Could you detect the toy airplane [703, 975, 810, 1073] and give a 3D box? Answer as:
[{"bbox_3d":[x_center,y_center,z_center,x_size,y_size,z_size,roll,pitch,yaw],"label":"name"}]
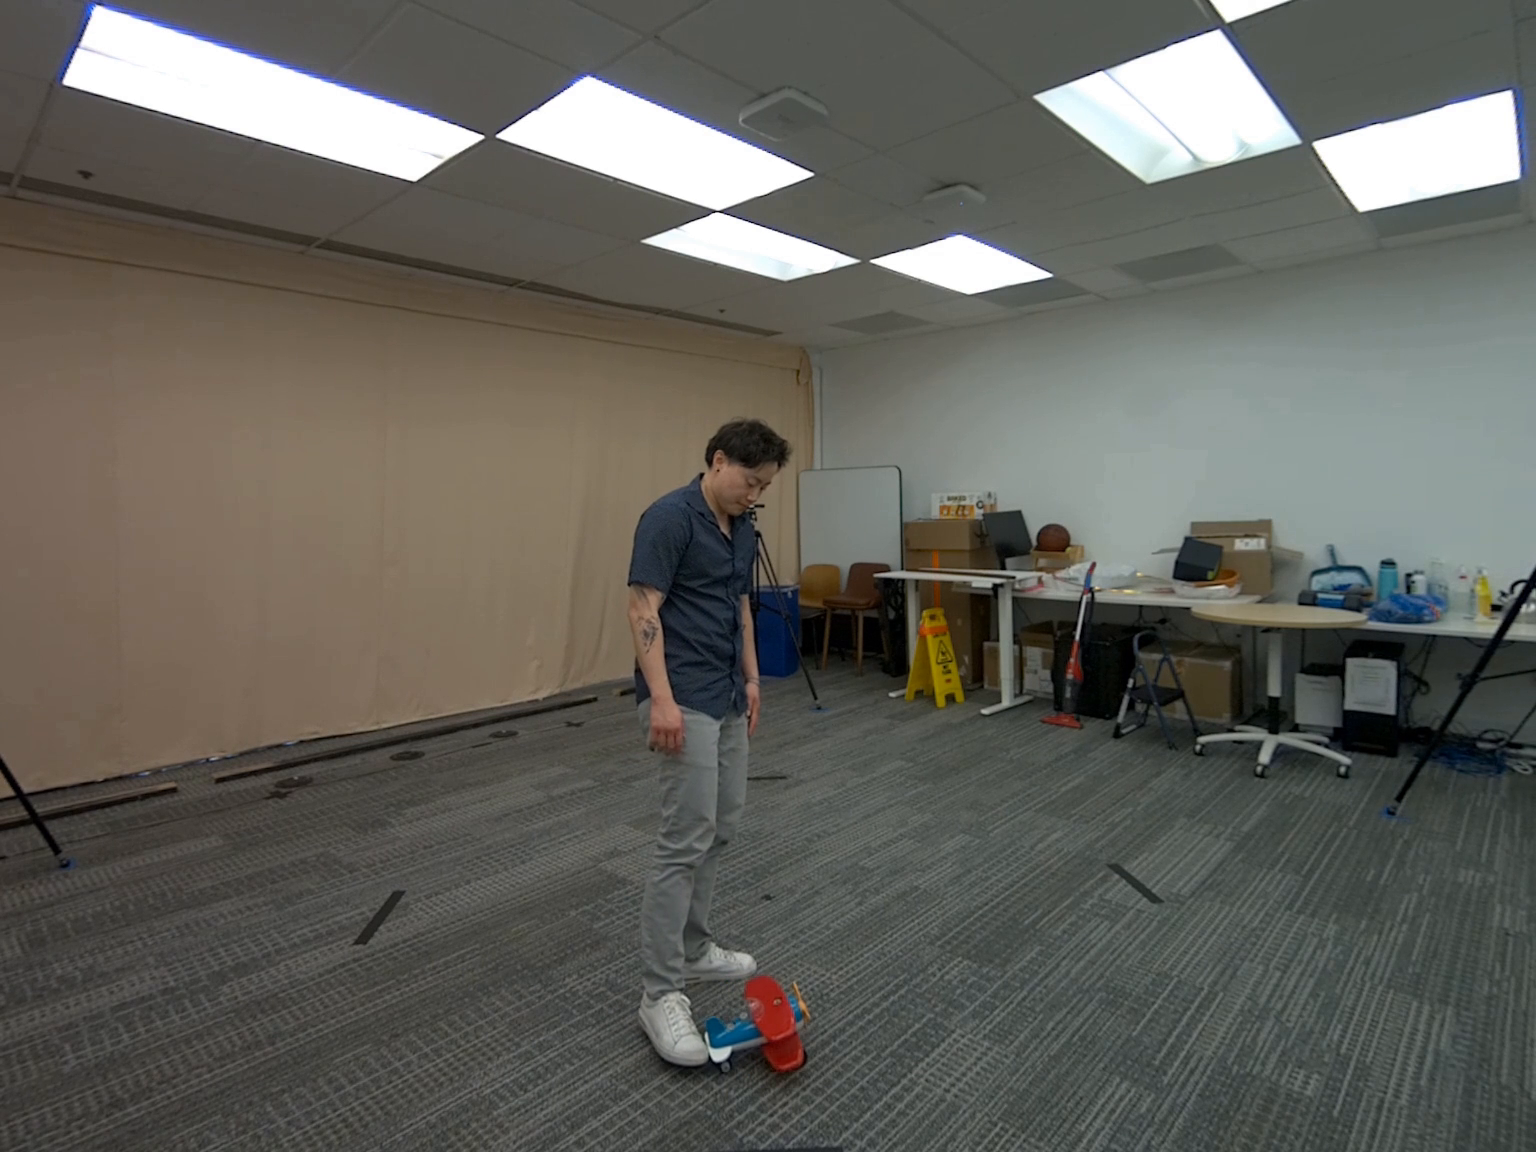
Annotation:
[{"bbox_3d":[-0.013,1.148,2.078,0.251,0.156,0.259,-4,6,-41],"label":"toy airplane"}]
